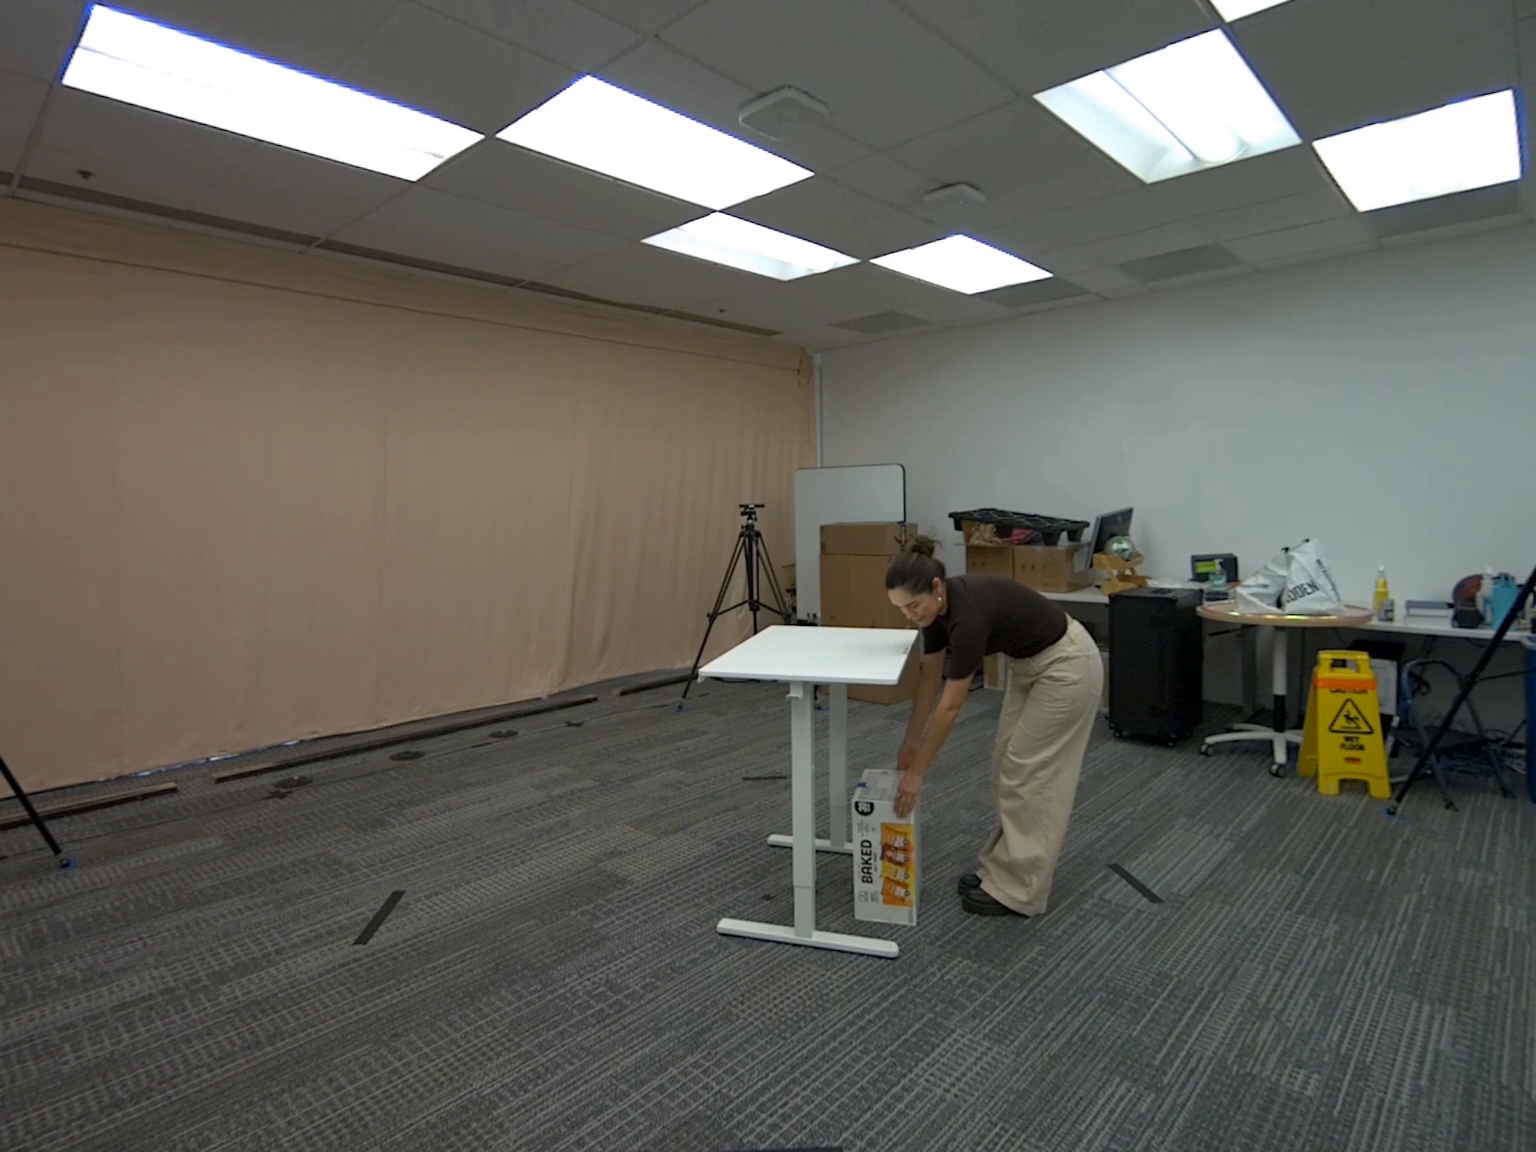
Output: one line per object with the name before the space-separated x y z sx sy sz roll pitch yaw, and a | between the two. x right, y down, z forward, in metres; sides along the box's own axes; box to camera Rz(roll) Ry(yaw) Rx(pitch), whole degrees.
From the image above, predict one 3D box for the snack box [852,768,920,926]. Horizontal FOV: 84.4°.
snack box | 0.430 0.935 2.940 0.209 0.404 0.335 -1 4 14
